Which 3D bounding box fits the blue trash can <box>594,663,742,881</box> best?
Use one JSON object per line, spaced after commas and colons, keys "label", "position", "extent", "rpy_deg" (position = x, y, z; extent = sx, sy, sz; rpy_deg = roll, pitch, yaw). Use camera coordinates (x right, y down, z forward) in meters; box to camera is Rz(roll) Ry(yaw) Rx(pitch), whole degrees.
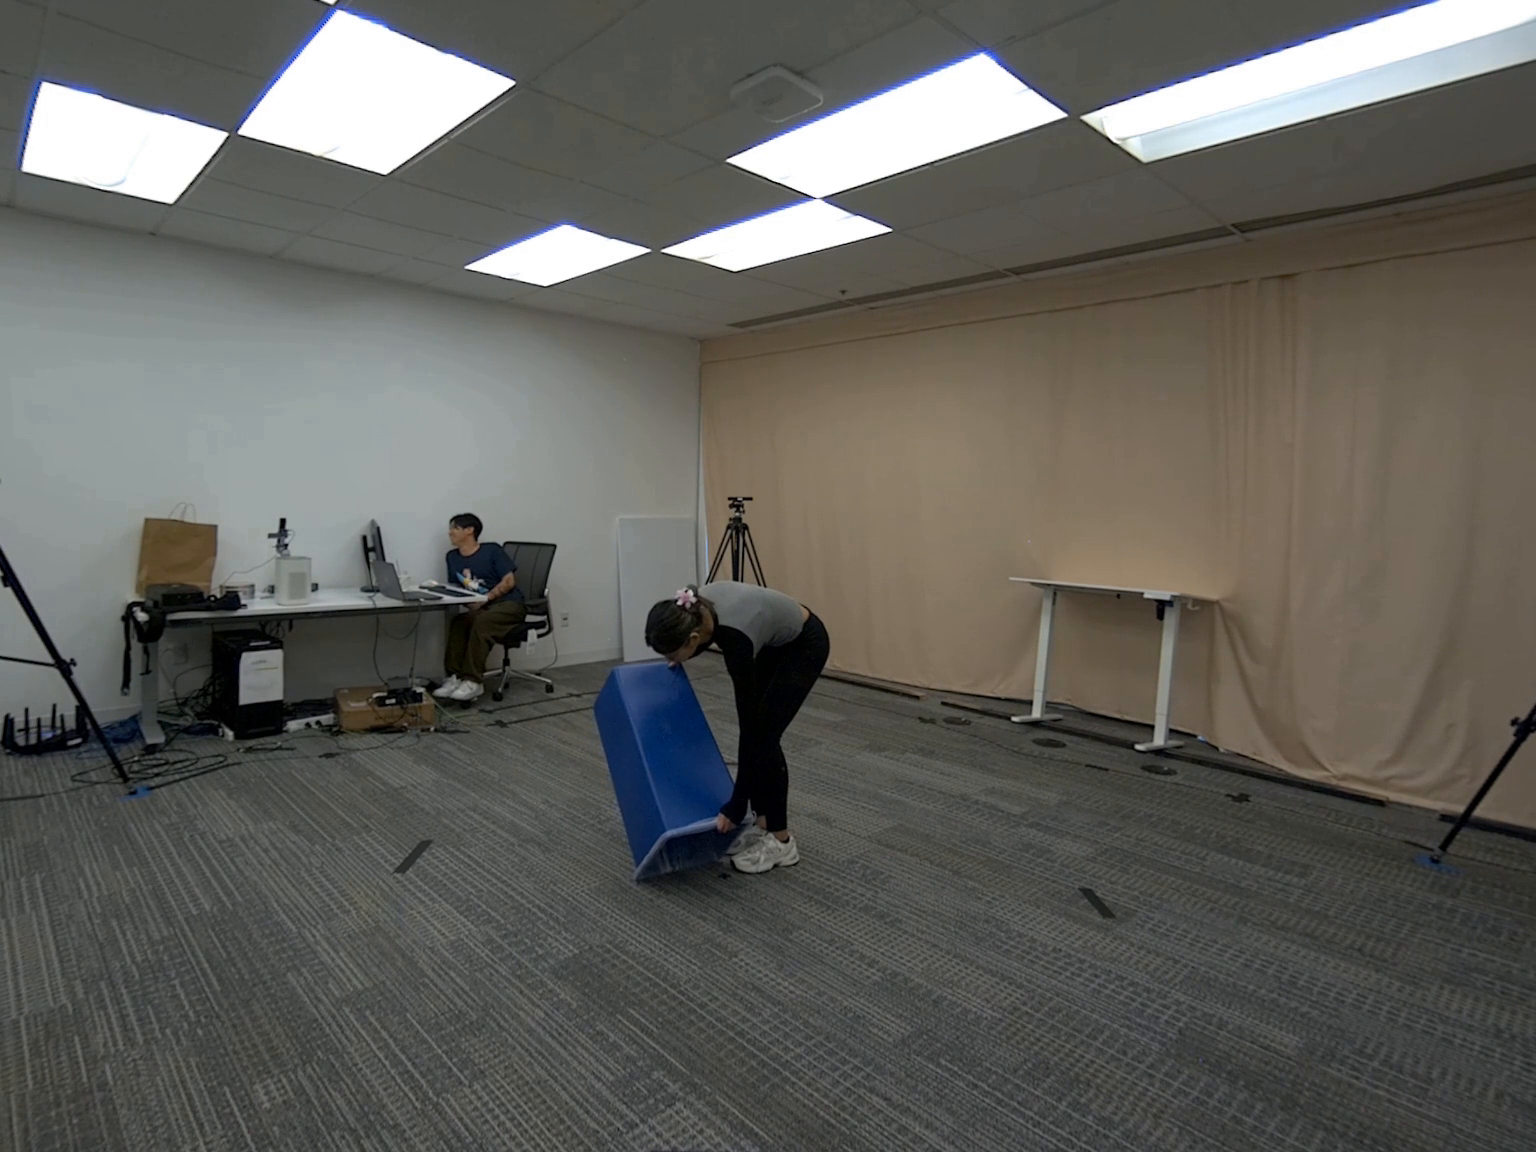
{"label": "blue trash can", "position": [-0.409, 0.712, 3.216], "extent": [0.370, 0.733, 0.371], "rpy_deg": [-2, -39, -33]}
